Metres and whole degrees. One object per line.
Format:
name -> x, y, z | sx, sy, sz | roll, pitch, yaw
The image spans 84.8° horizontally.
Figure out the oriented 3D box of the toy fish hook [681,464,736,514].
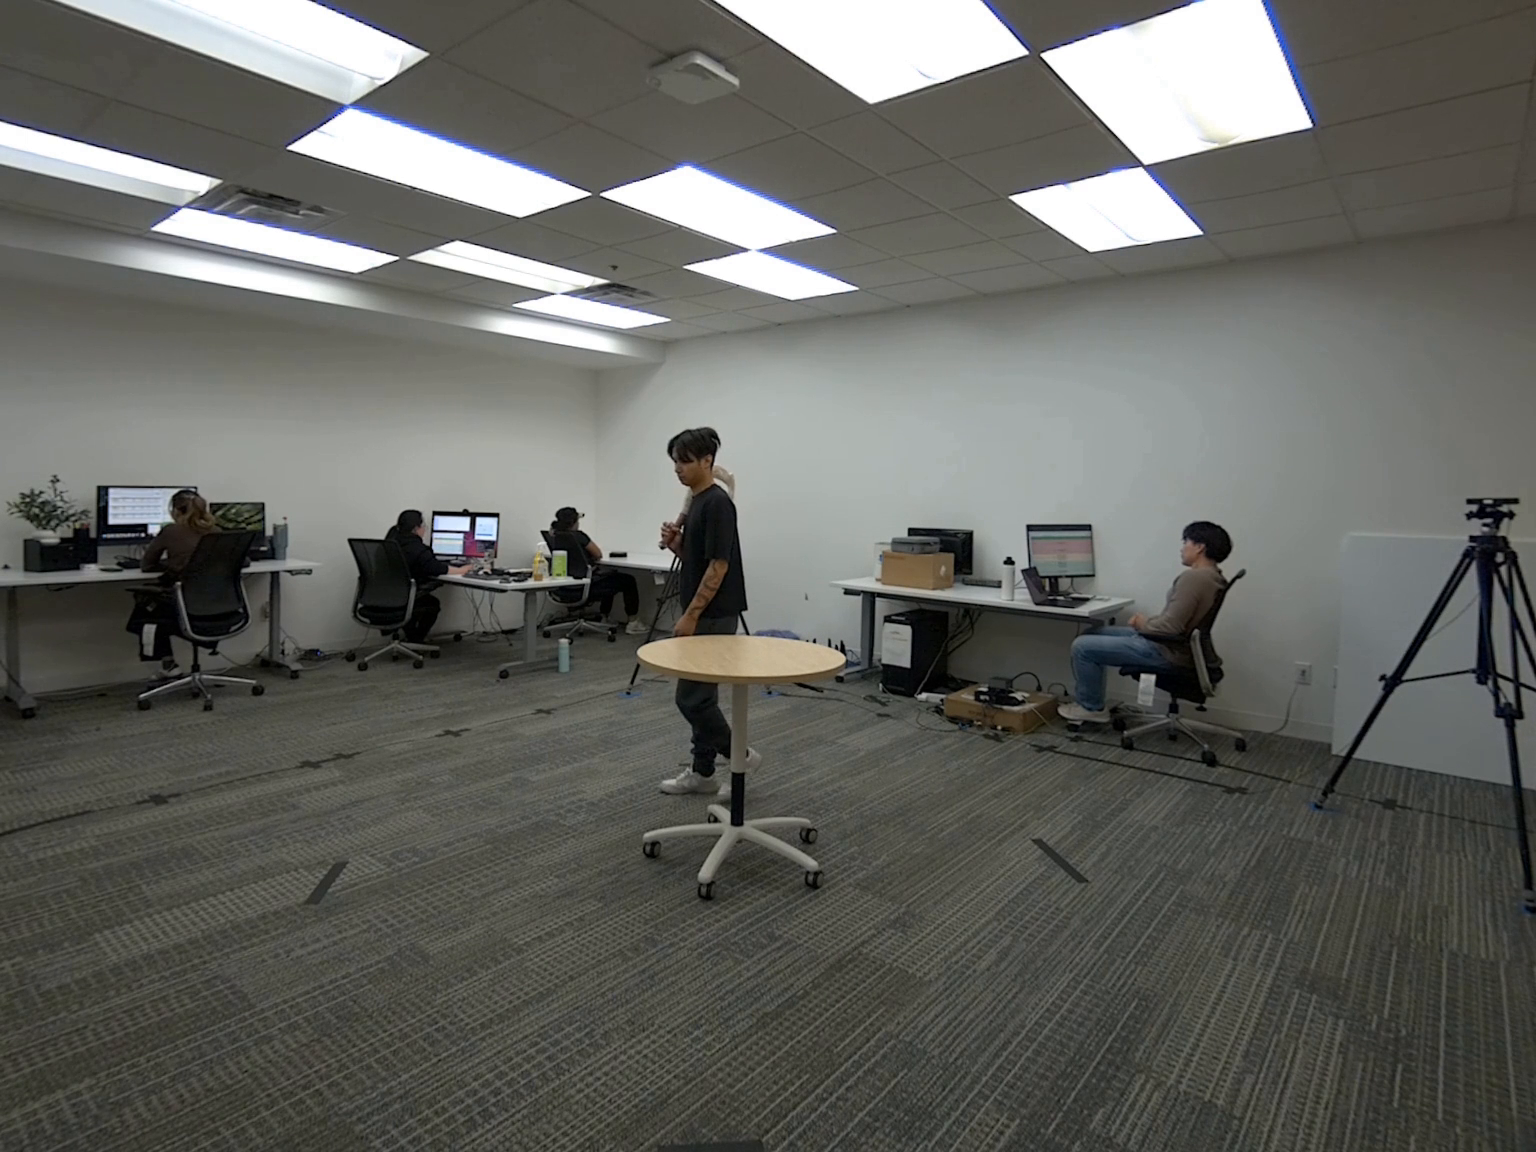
toy fish hook -> -0.325, -0.304, 3.931 | 0.226, 0.509, 0.048 | 29, -21, 3
